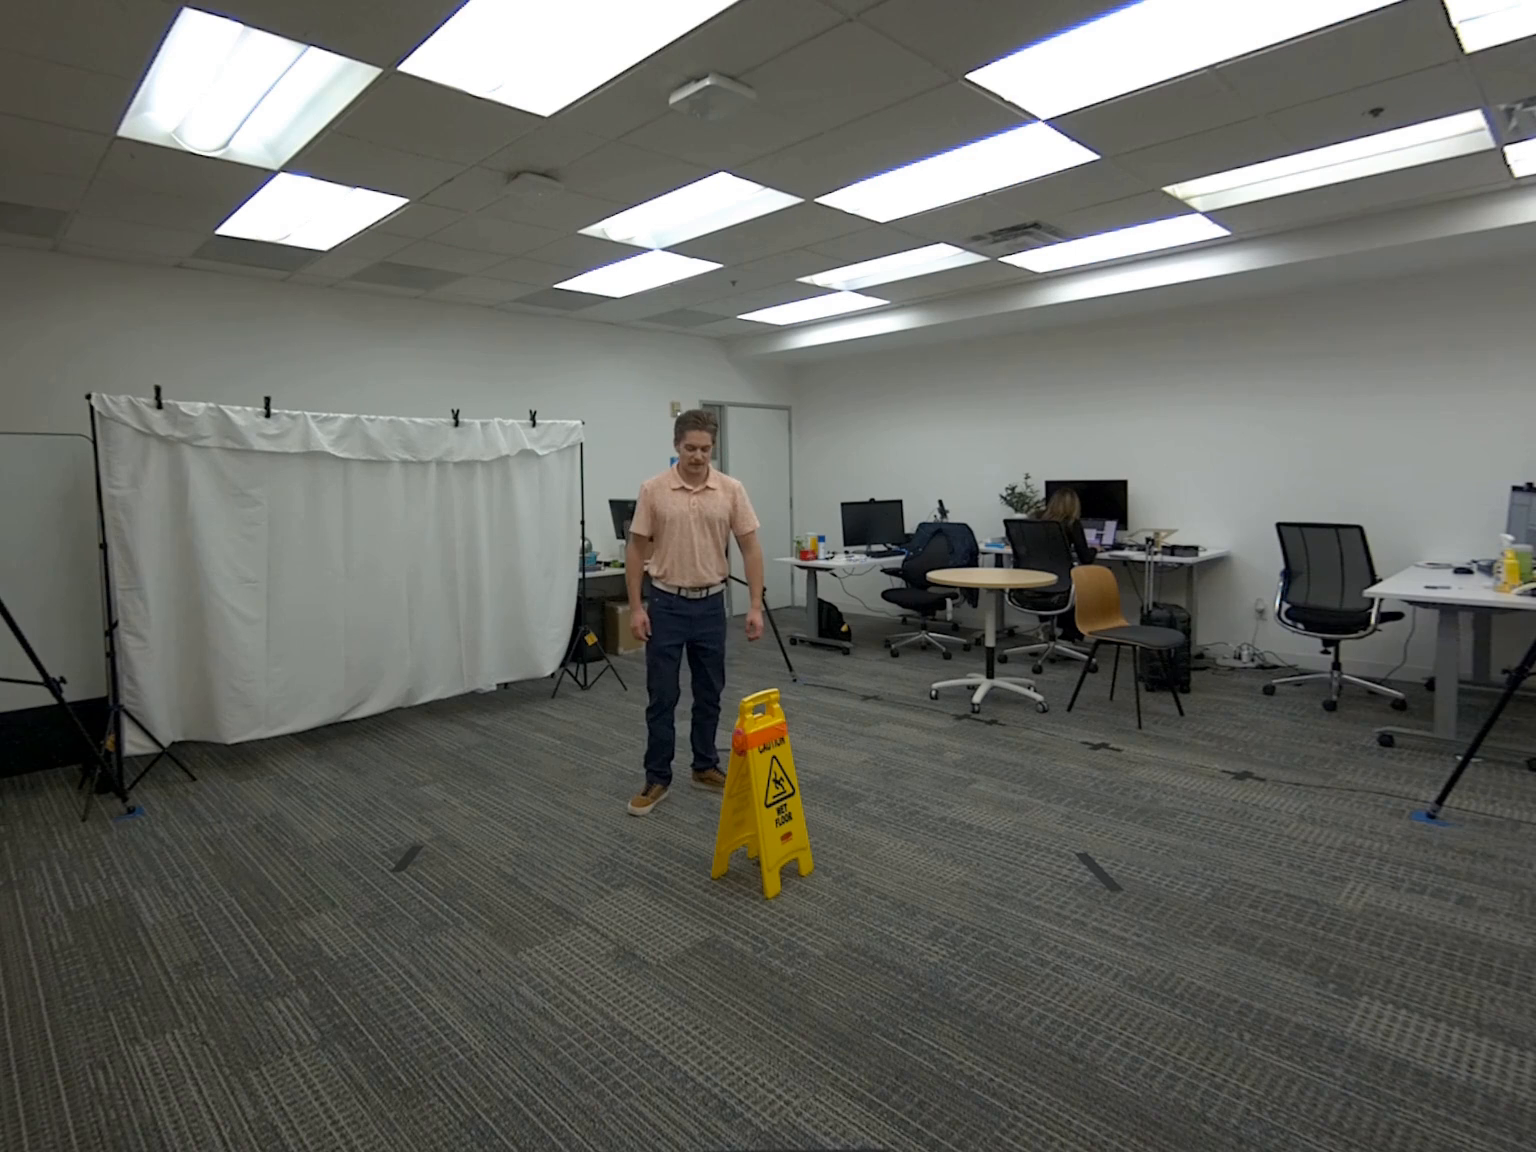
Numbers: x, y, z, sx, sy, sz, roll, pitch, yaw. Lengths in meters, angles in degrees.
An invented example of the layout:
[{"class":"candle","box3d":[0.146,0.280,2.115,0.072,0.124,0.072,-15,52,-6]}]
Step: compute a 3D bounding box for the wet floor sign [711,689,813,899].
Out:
[{"class":"wet floor sign","box3d":[-0.024,0.732,3.007,0.298,0.644,0.275,2,5,38]}]
